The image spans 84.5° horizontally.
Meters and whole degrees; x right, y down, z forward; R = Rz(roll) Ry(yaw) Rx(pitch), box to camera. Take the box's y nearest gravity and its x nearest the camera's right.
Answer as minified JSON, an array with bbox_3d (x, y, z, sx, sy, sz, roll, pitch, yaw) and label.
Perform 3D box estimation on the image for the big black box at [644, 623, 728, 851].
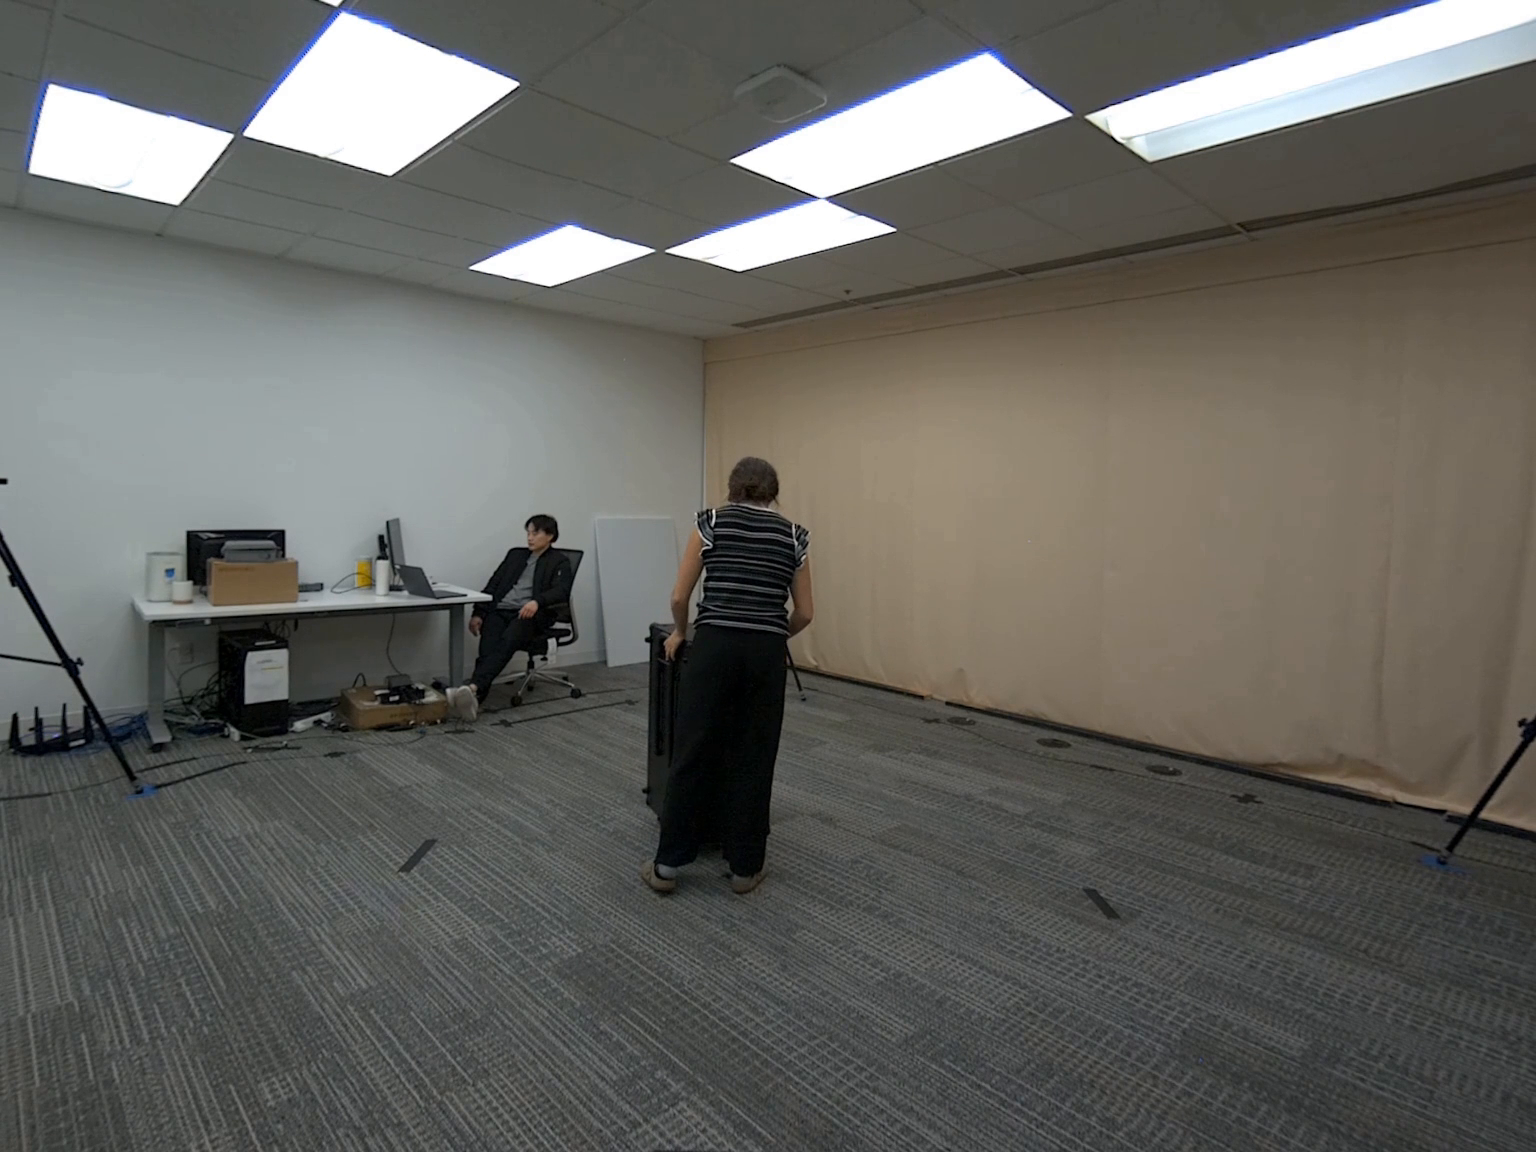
[{"bbox_3d":[-0.269,0.648,3.453,0.389,0.859,0.531,0,3,-25],"label":"big black box"}]
